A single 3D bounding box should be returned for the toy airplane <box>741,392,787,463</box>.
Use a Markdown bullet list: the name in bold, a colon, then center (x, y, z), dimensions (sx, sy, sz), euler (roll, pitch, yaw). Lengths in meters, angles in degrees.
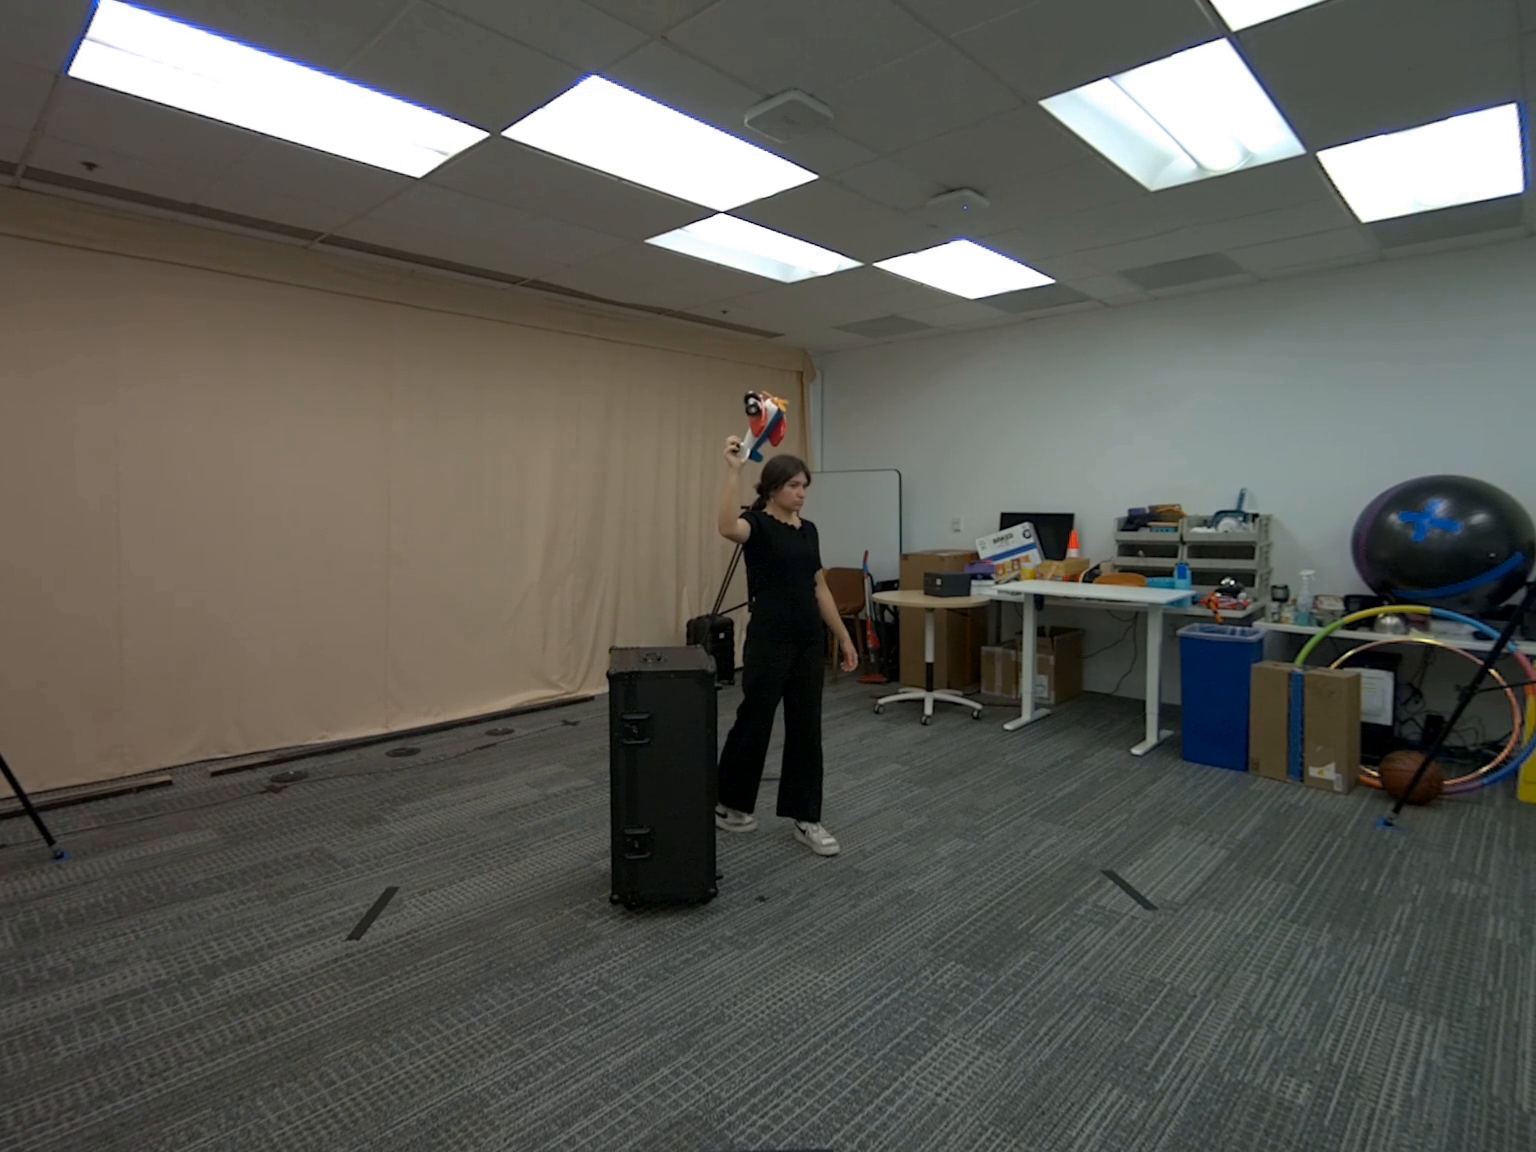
- **toy airplane**: center (-0.035, -0.545, 3.057), dimensions (0.154, 0.254, 0.259), euler (13, -30, -12)
